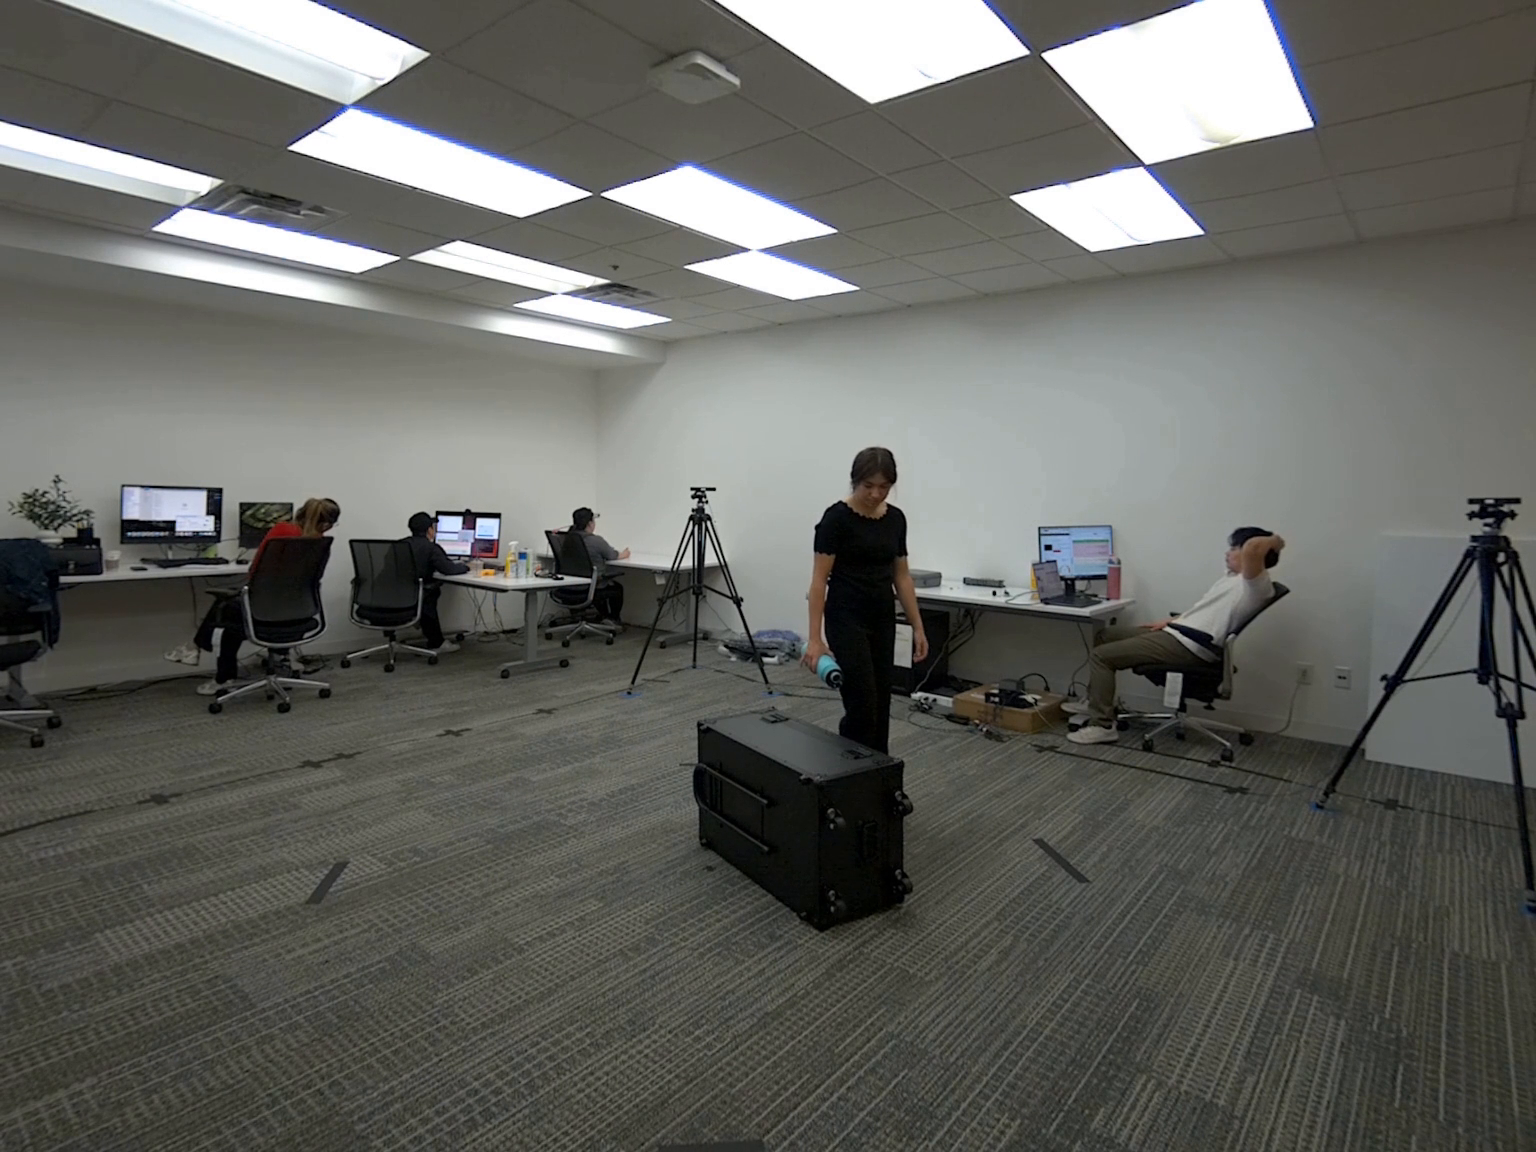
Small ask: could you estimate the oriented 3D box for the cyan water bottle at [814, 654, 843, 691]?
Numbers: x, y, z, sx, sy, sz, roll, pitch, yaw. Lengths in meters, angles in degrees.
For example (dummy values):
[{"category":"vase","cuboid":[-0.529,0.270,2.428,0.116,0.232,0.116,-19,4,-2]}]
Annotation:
[{"category":"cyan water bottle","cuboid":[0.219,0.365,3.475,0.090,0.091,0.293,-1,22,-19]}]
